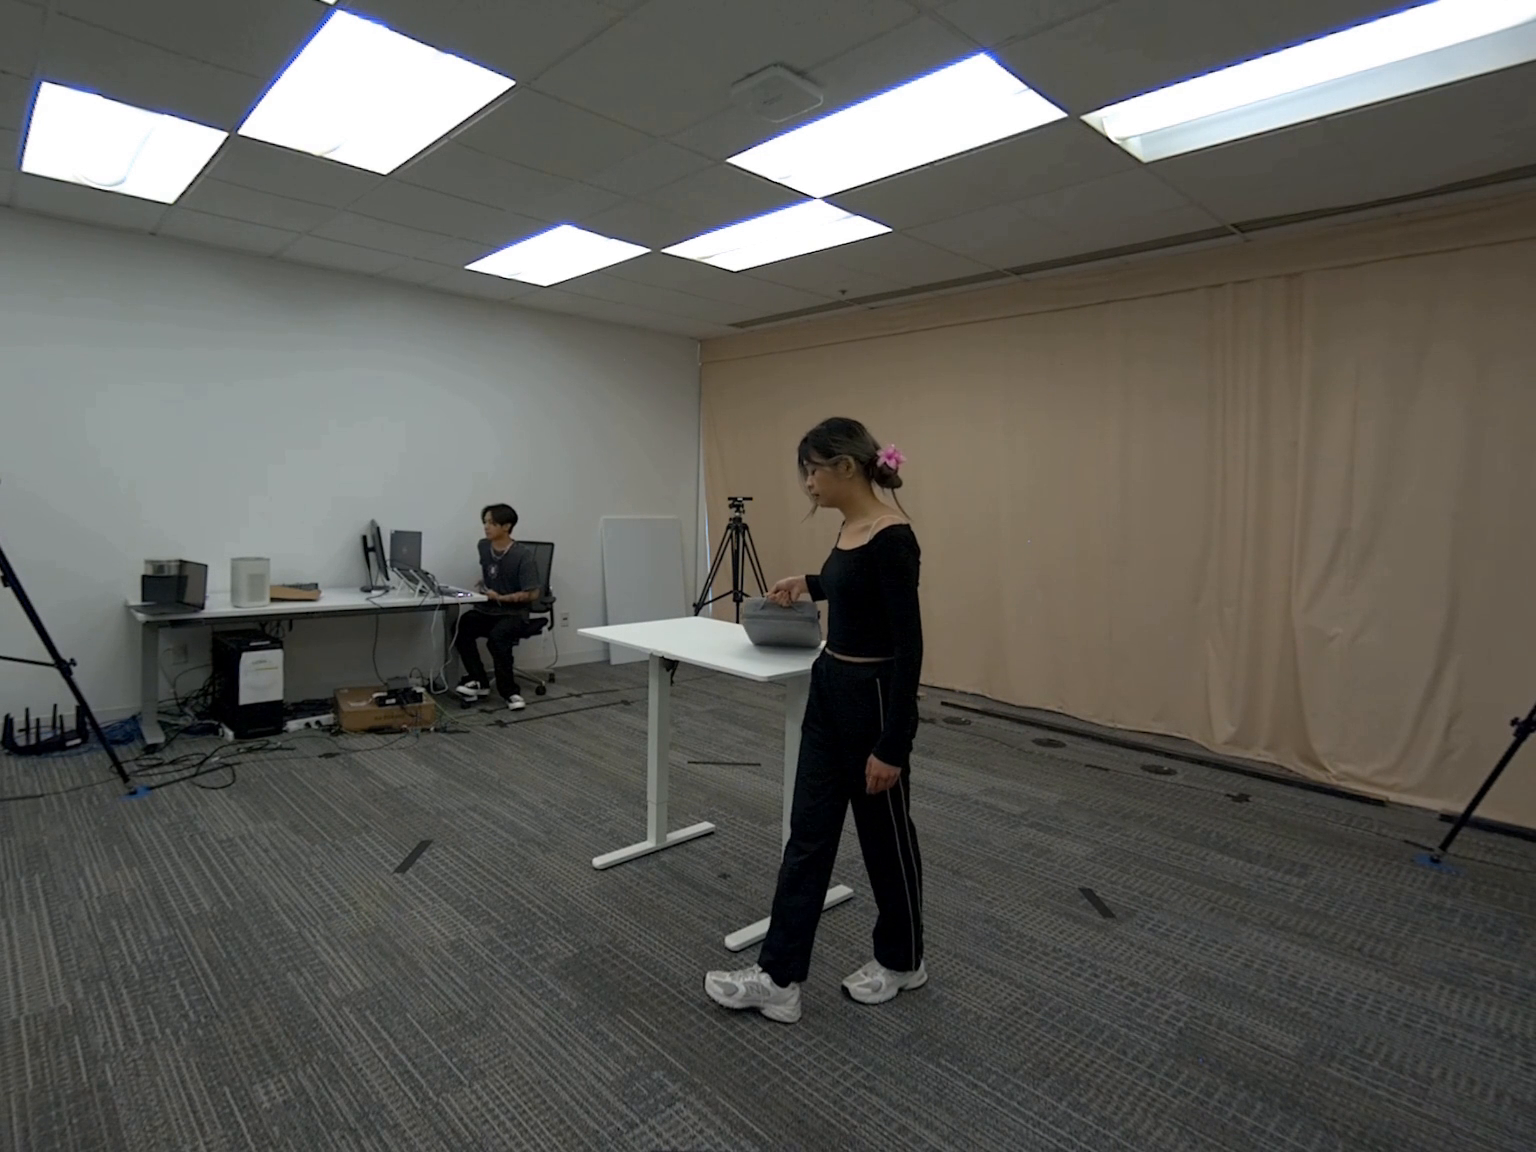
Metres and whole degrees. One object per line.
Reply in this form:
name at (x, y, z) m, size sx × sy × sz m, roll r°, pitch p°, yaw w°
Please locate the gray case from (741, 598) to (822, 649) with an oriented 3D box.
gray case at (0.044, 0.153, 2.844) m, size 0.259 × 0.106 × 0.255 m, roll 1°, pitch -22°, yaw 8°
